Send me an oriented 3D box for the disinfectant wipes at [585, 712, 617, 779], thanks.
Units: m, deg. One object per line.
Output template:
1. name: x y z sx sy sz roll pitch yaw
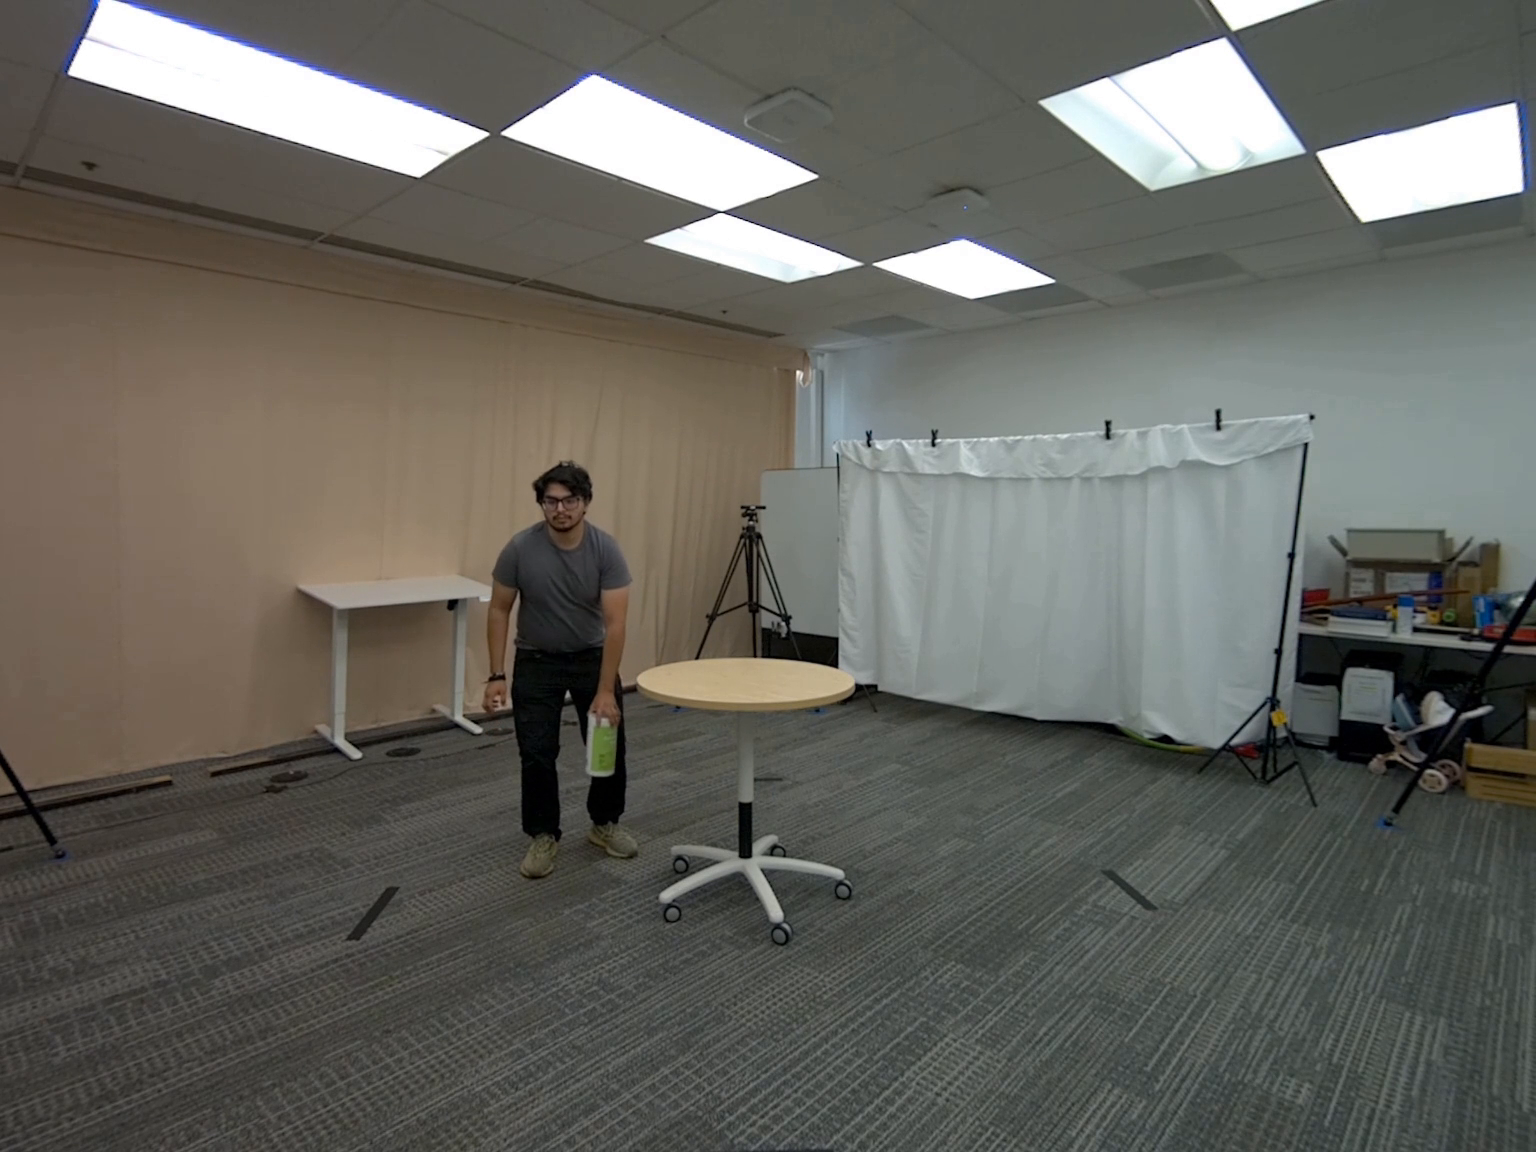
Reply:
1. disinfectant wipes: -0.611 0.624 3.093 0.117 0.217 0.118 5 3 -2
